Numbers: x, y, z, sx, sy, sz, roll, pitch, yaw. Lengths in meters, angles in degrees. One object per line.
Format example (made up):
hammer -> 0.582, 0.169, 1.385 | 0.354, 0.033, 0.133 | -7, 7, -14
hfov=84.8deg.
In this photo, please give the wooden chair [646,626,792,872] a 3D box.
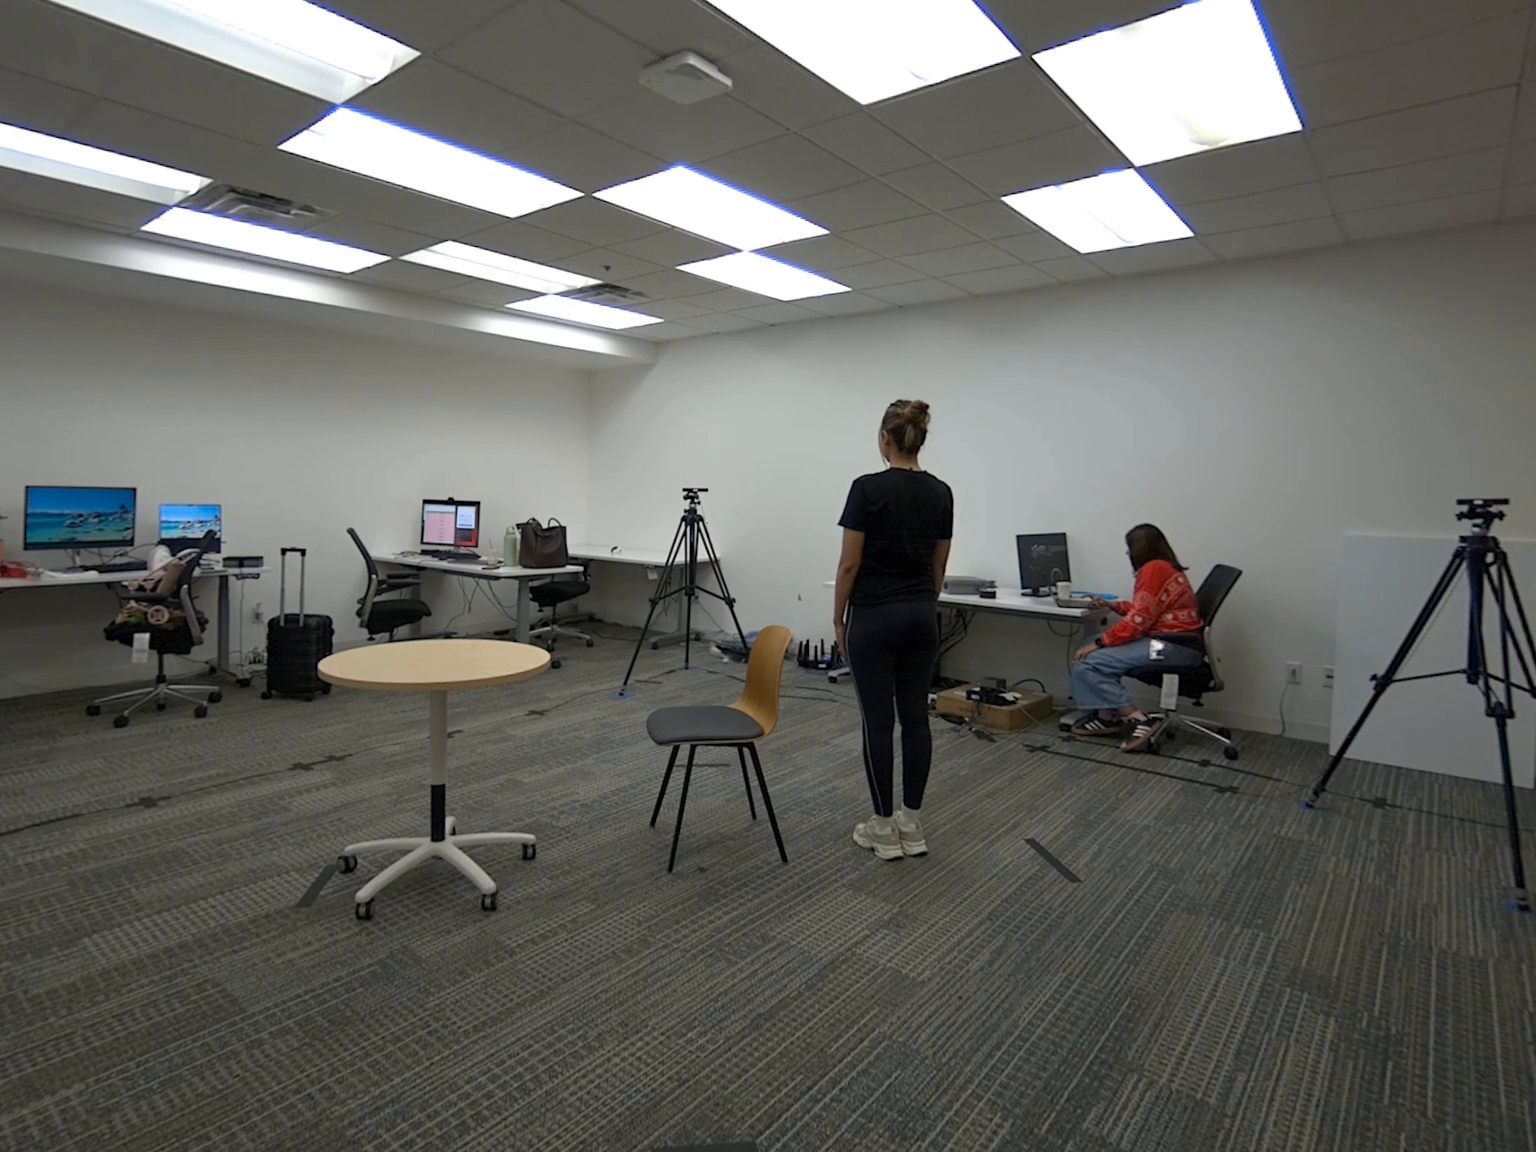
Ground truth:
wooden chair -> -0.215, 0.625, 3.313 | 0.515, 0.875, 0.487 | 4, 3, -15
